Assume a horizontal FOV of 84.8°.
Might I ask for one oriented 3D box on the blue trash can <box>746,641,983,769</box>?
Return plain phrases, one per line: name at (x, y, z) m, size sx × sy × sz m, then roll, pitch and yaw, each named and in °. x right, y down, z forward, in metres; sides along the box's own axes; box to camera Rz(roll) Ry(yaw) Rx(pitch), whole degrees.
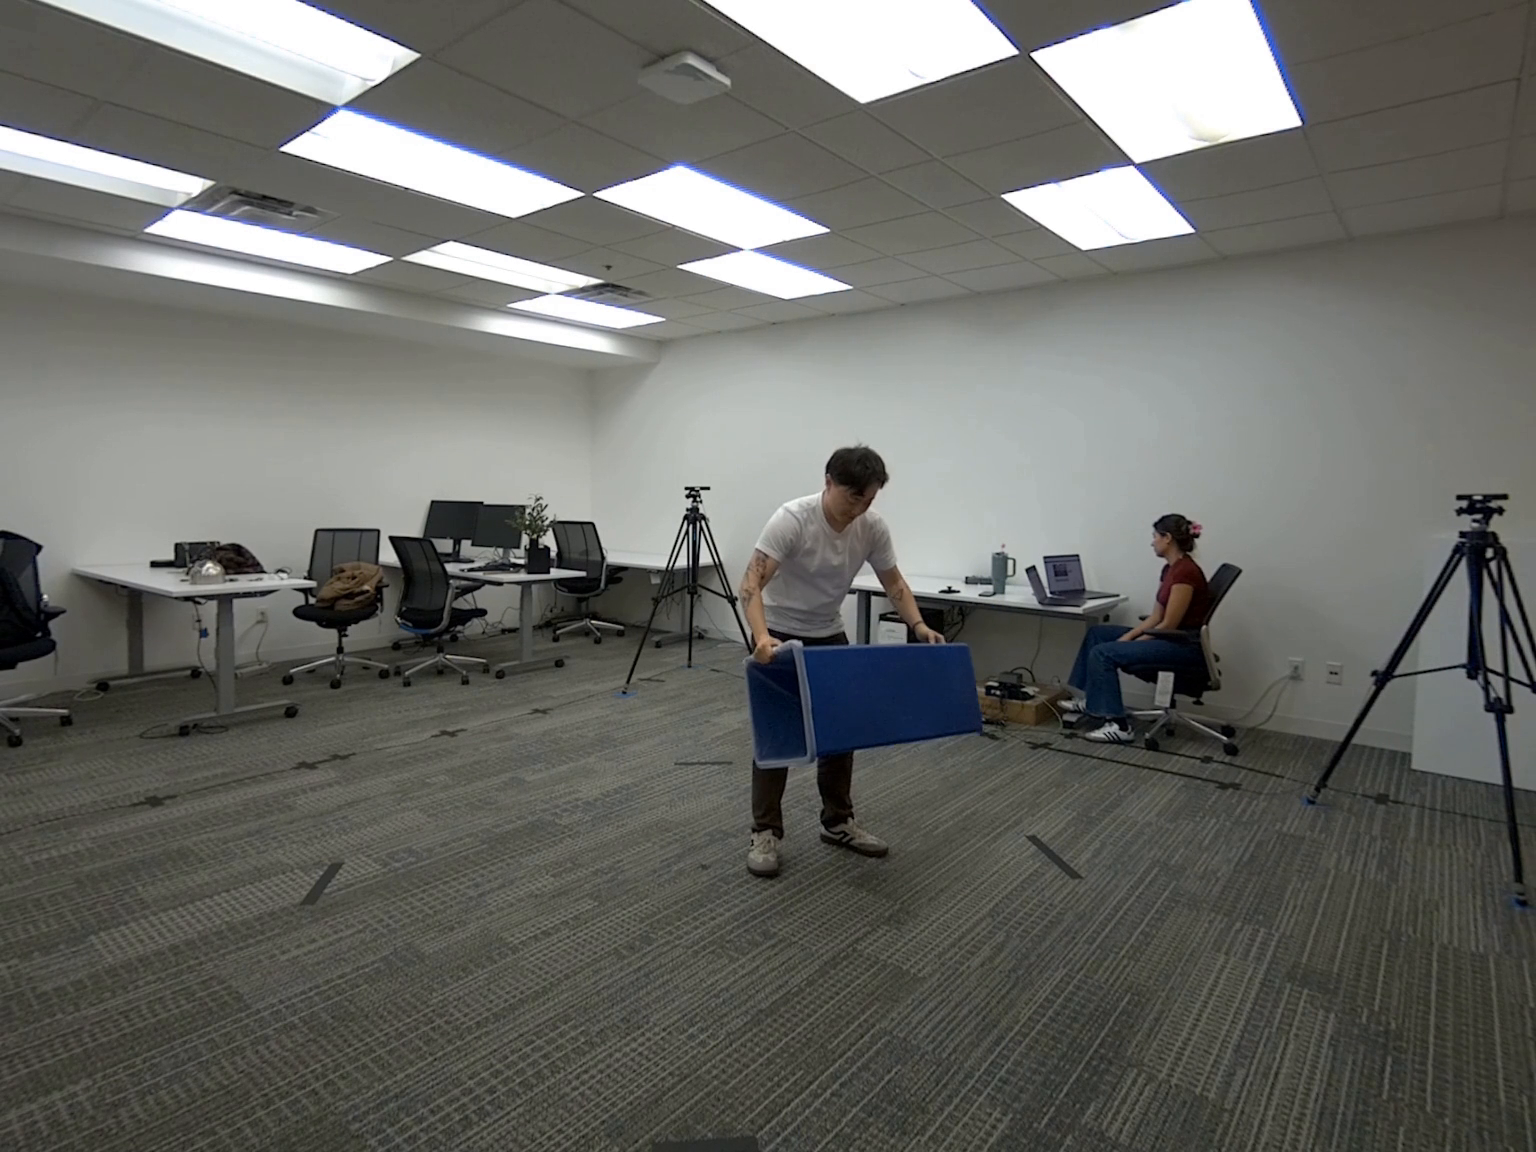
blue trash can at (0.319, 0.417, 2.885) m, size 0.695 × 0.384 × 0.378 m, roll 0°, pitch -15°, yaw -28°
